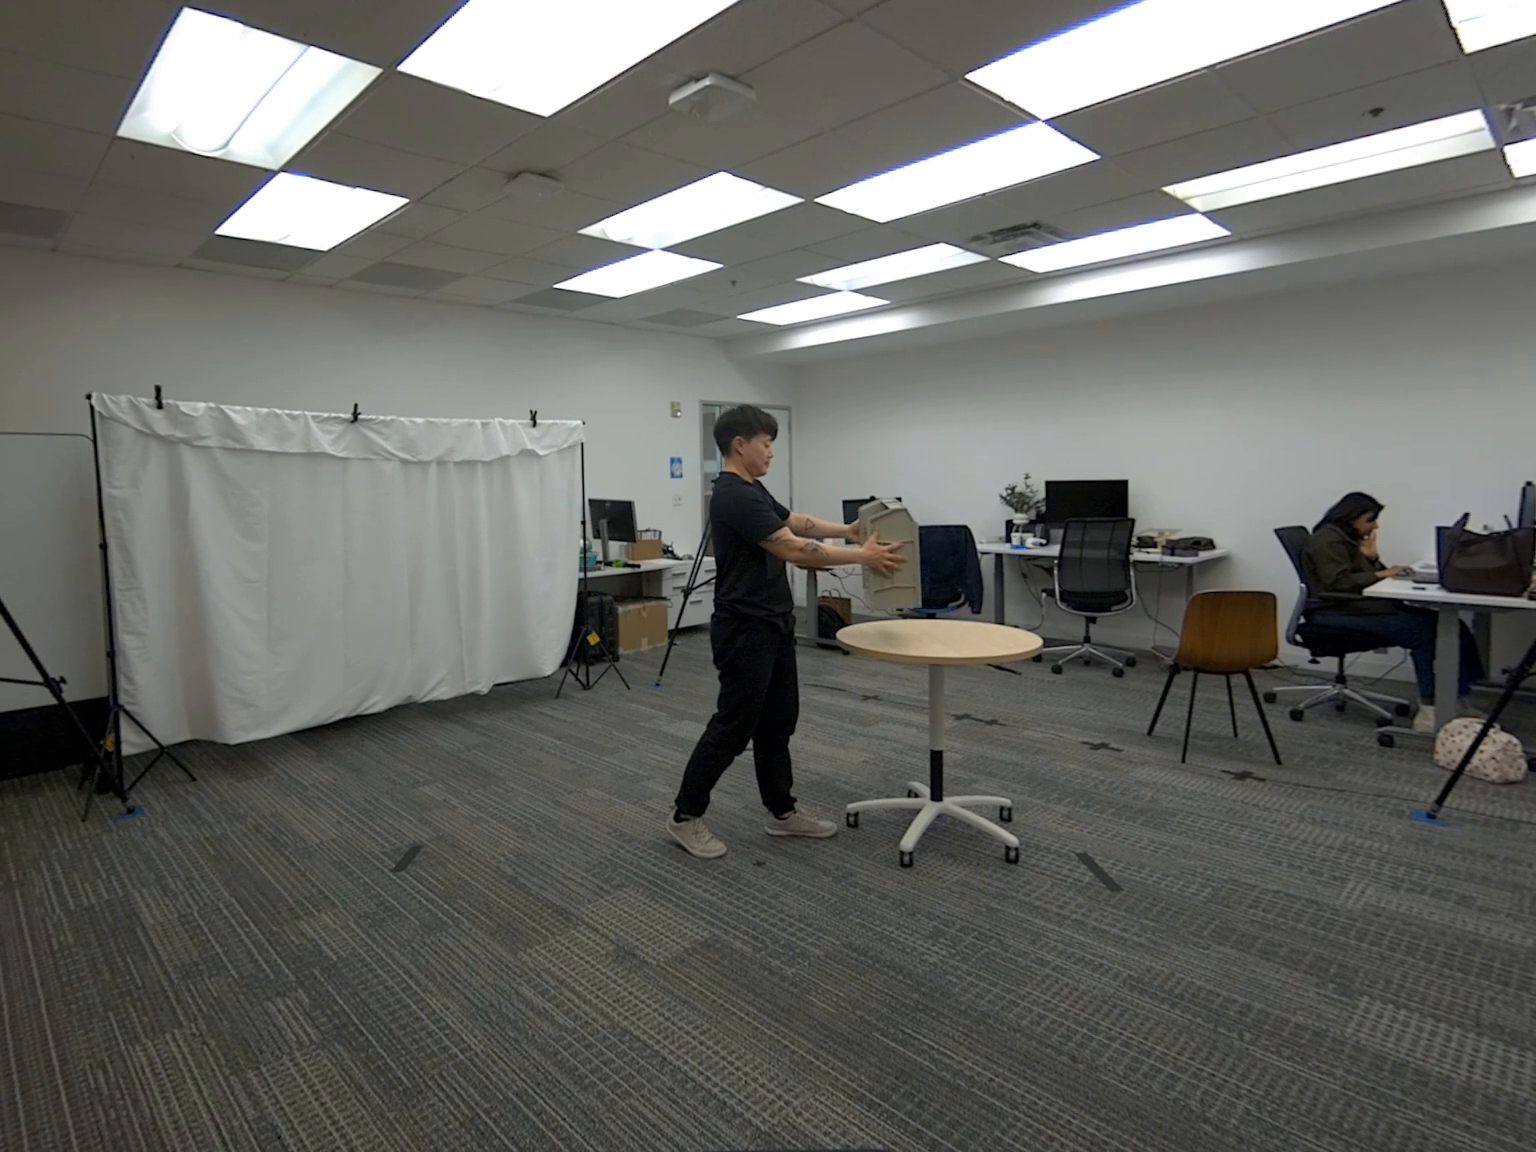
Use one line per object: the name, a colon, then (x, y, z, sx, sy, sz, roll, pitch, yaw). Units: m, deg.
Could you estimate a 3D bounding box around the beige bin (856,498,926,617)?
beige bin: (0.456, -0.084, 3.241, 0.190, 0.374, 0.424, -4, 8, 3)
